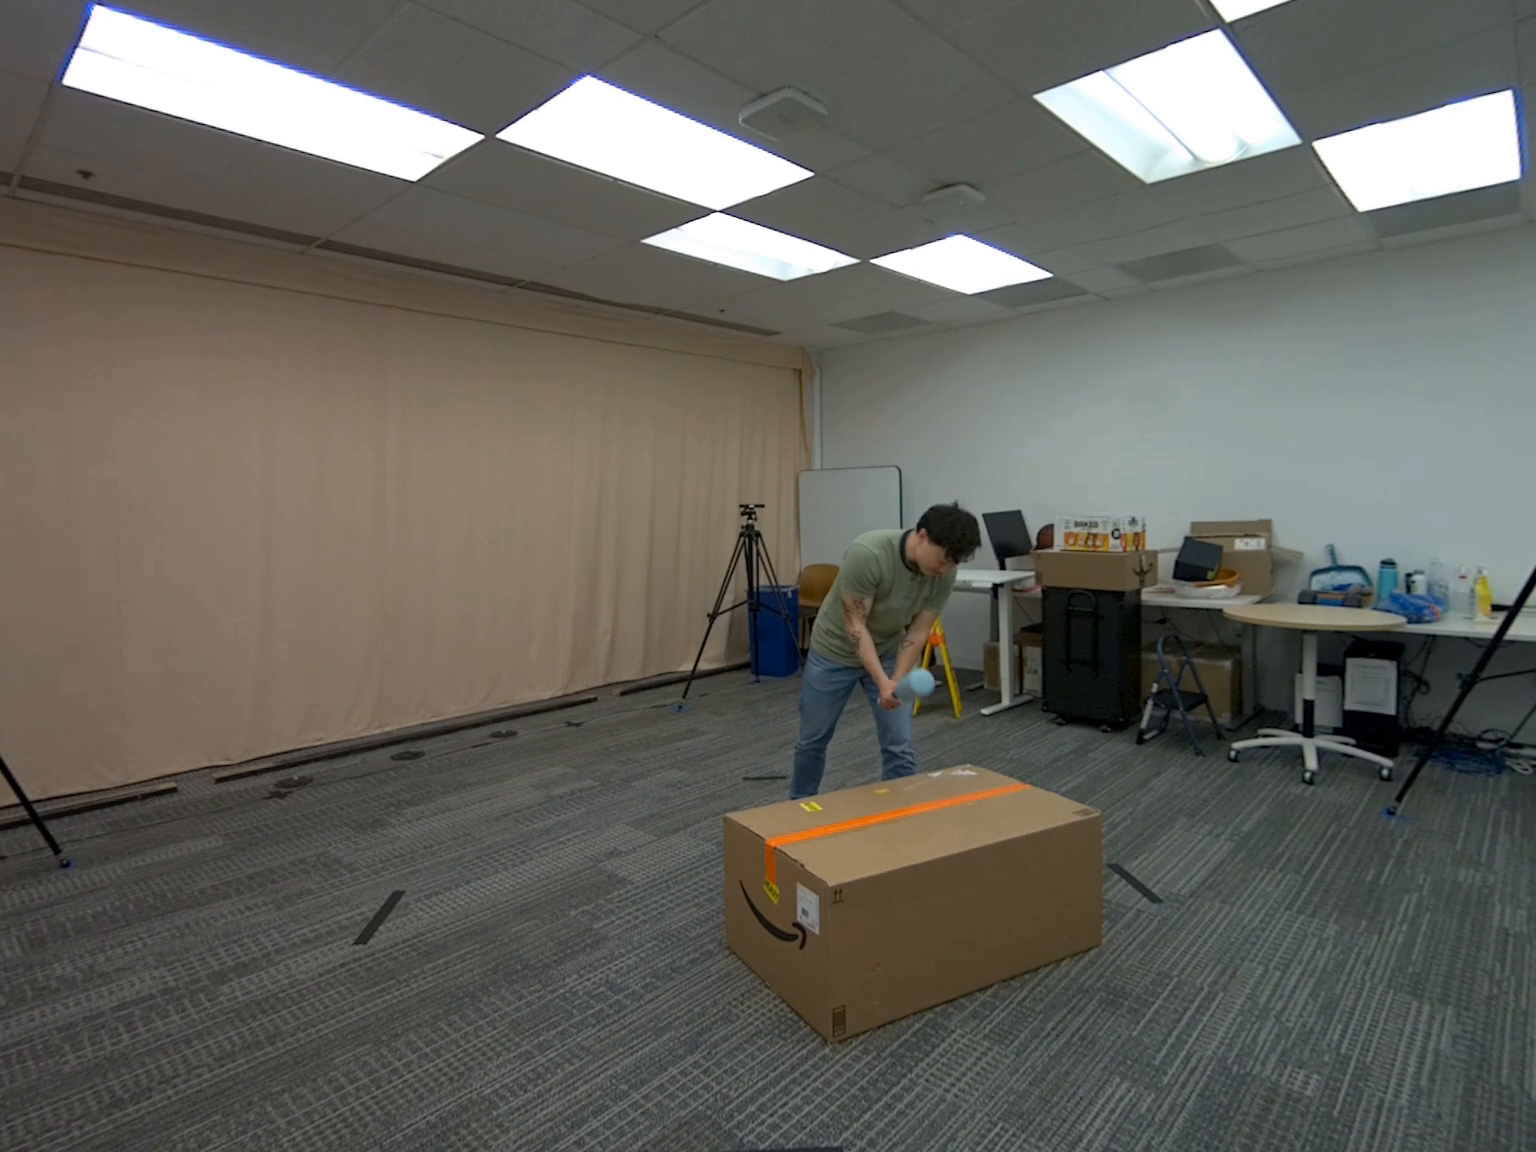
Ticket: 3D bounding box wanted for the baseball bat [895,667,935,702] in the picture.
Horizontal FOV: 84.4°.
[{"bbox_3d":[0.451,0.375,2.943,0.089,0.090,0.537,0,-15,-1],"label":"baseball bat"}]
